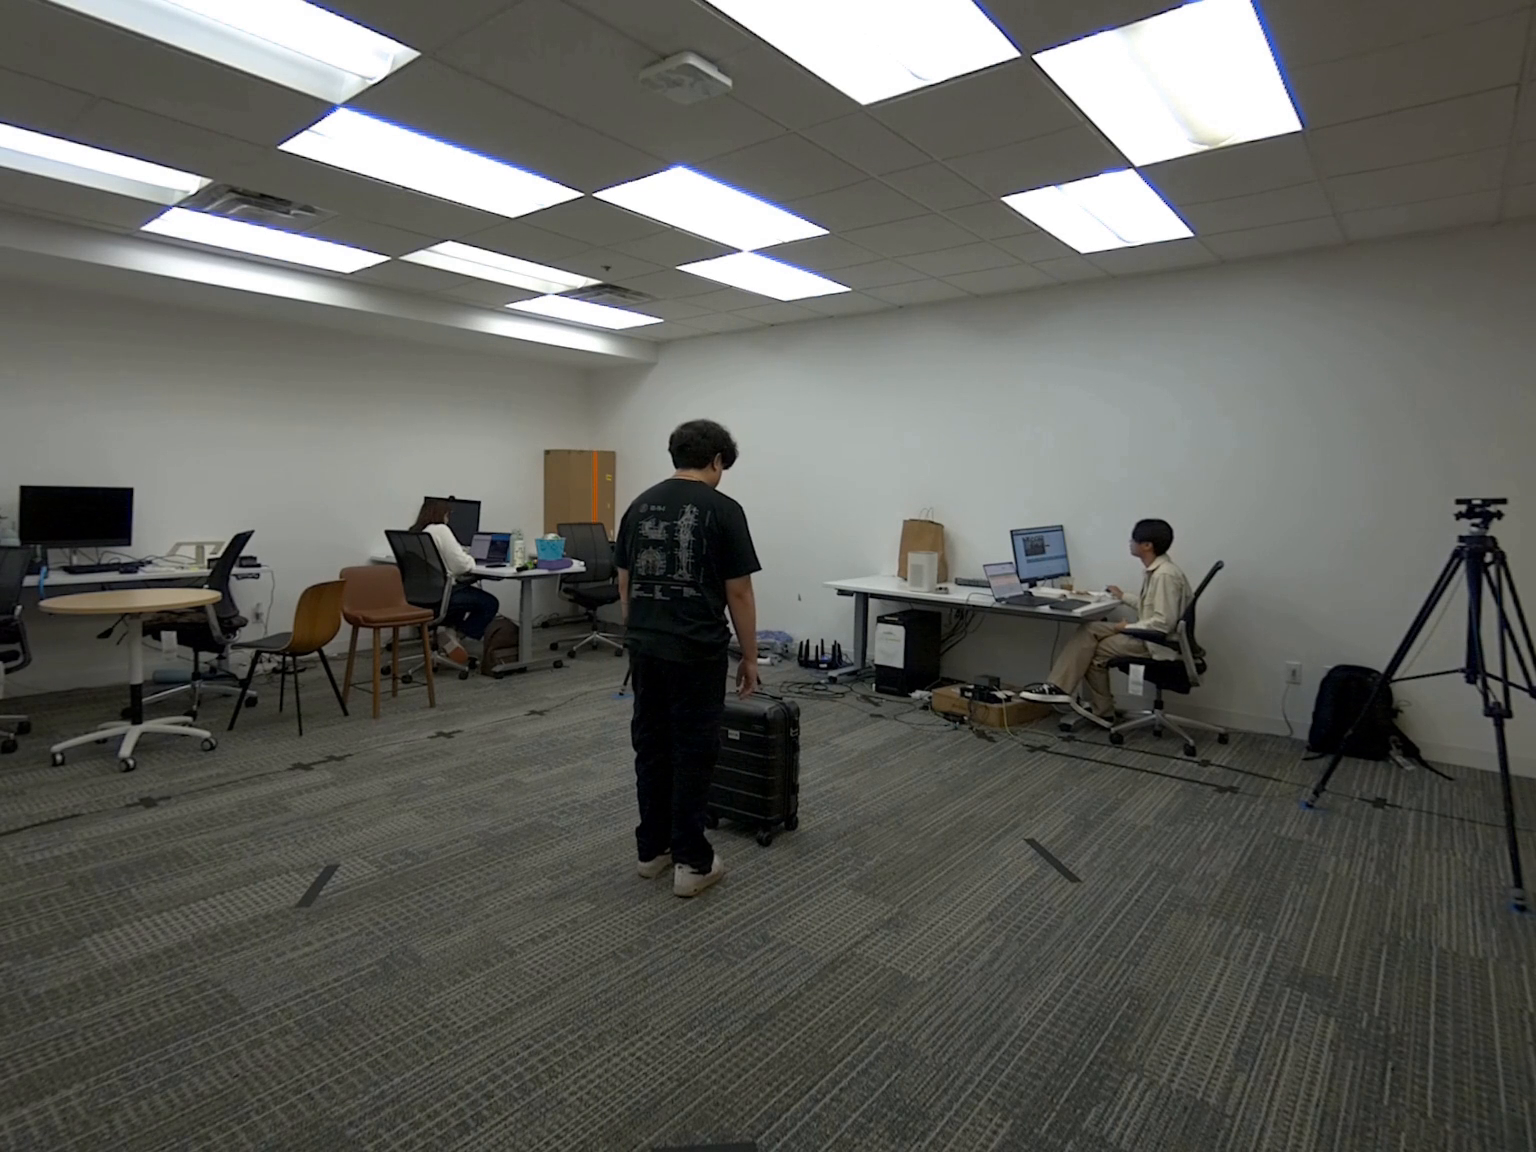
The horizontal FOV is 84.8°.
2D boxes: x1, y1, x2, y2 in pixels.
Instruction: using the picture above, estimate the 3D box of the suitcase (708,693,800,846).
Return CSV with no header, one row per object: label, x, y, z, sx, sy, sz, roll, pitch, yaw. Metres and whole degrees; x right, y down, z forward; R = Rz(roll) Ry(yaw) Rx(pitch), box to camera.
suitcase,-0.072,0.759,3.507,0.387,0.548,0.241,3,3,31
